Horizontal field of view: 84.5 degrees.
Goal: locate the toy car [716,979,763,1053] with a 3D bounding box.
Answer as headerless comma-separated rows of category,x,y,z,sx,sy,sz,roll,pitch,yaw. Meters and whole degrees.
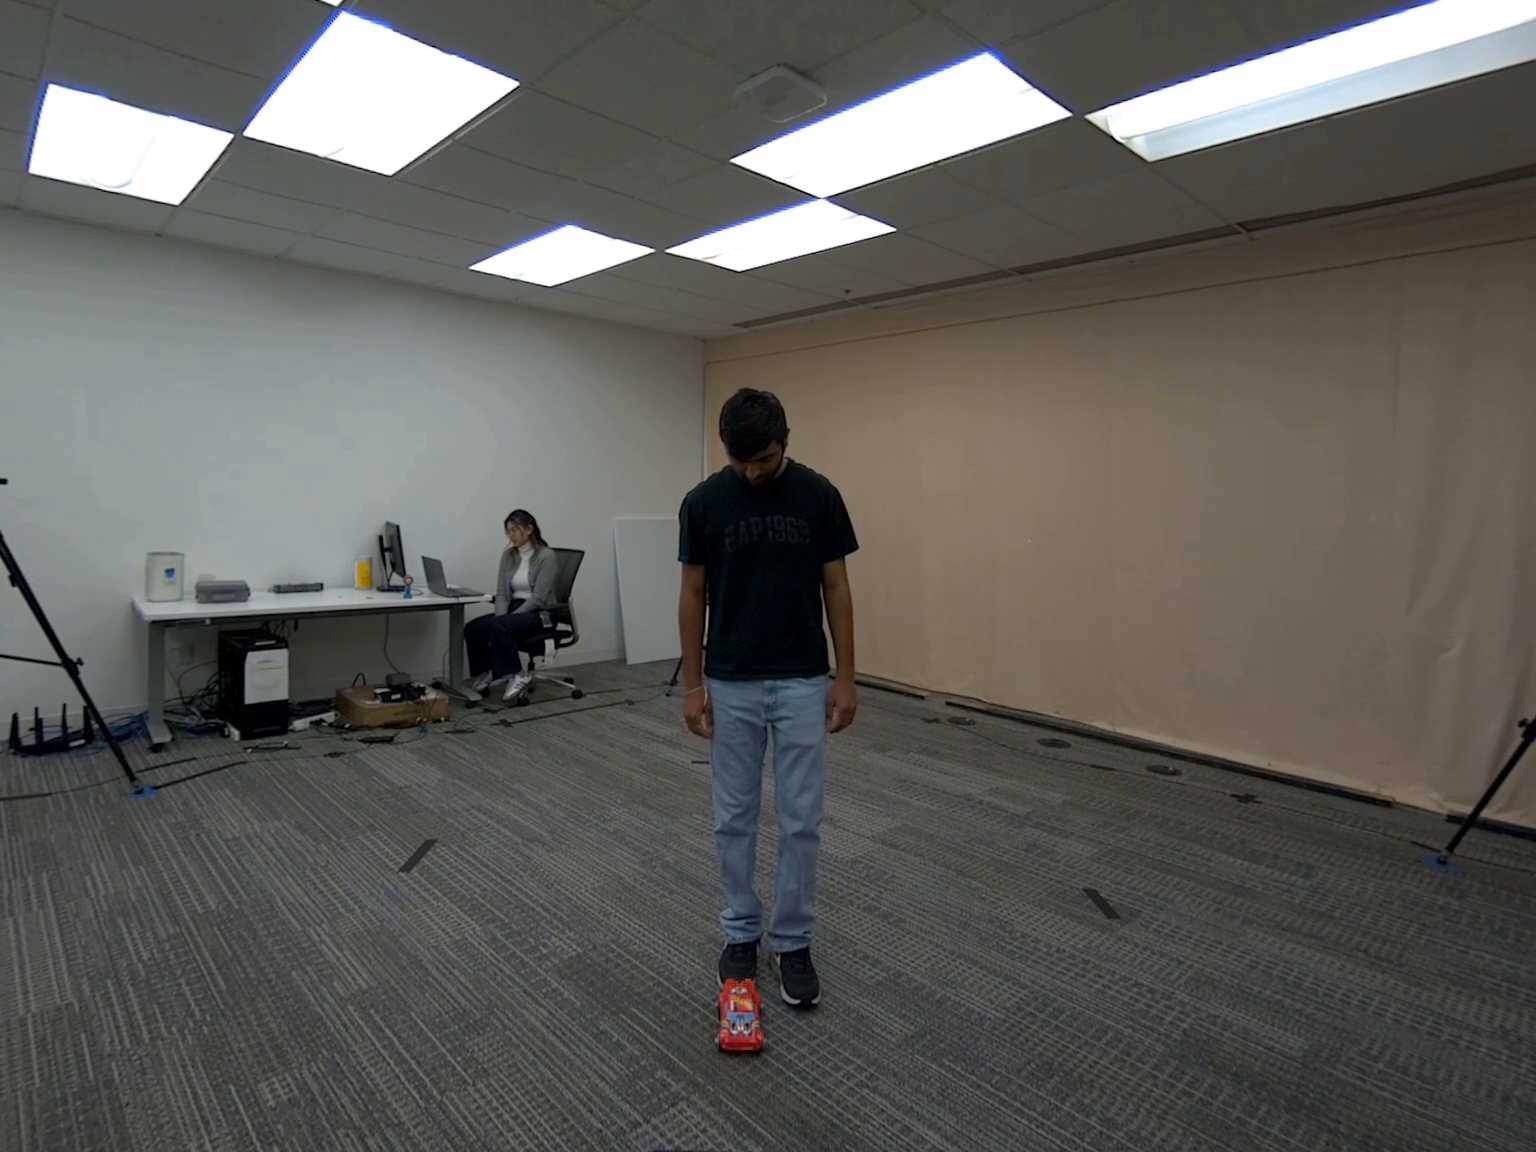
toy car,-0.088,1.160,2.212,0.130,0.082,0.258,0,16,-2
